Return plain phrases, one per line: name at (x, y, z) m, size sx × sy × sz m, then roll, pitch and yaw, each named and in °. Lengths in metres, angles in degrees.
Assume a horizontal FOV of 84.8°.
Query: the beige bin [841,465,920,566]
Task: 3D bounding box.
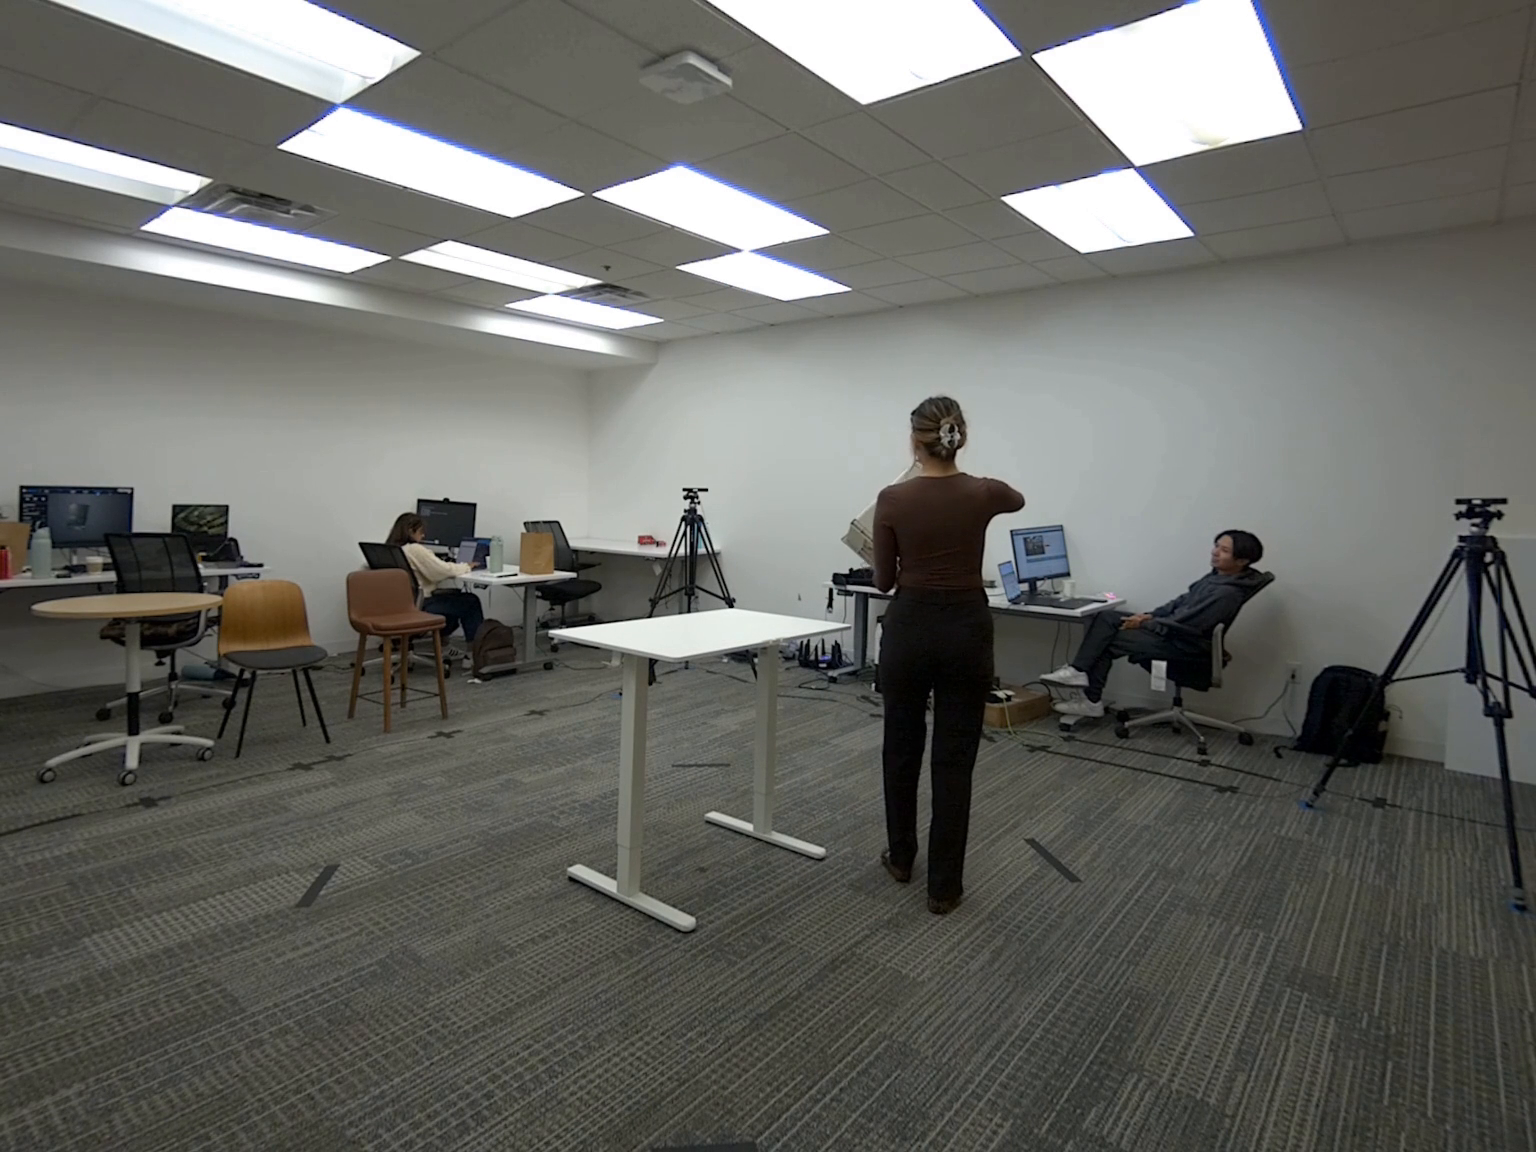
beige bin at (0.571, -0.191, 3.374) m, size 0.386 × 0.421 × 0.185 m, roll 43°, pitch -16°, yaw 15°
